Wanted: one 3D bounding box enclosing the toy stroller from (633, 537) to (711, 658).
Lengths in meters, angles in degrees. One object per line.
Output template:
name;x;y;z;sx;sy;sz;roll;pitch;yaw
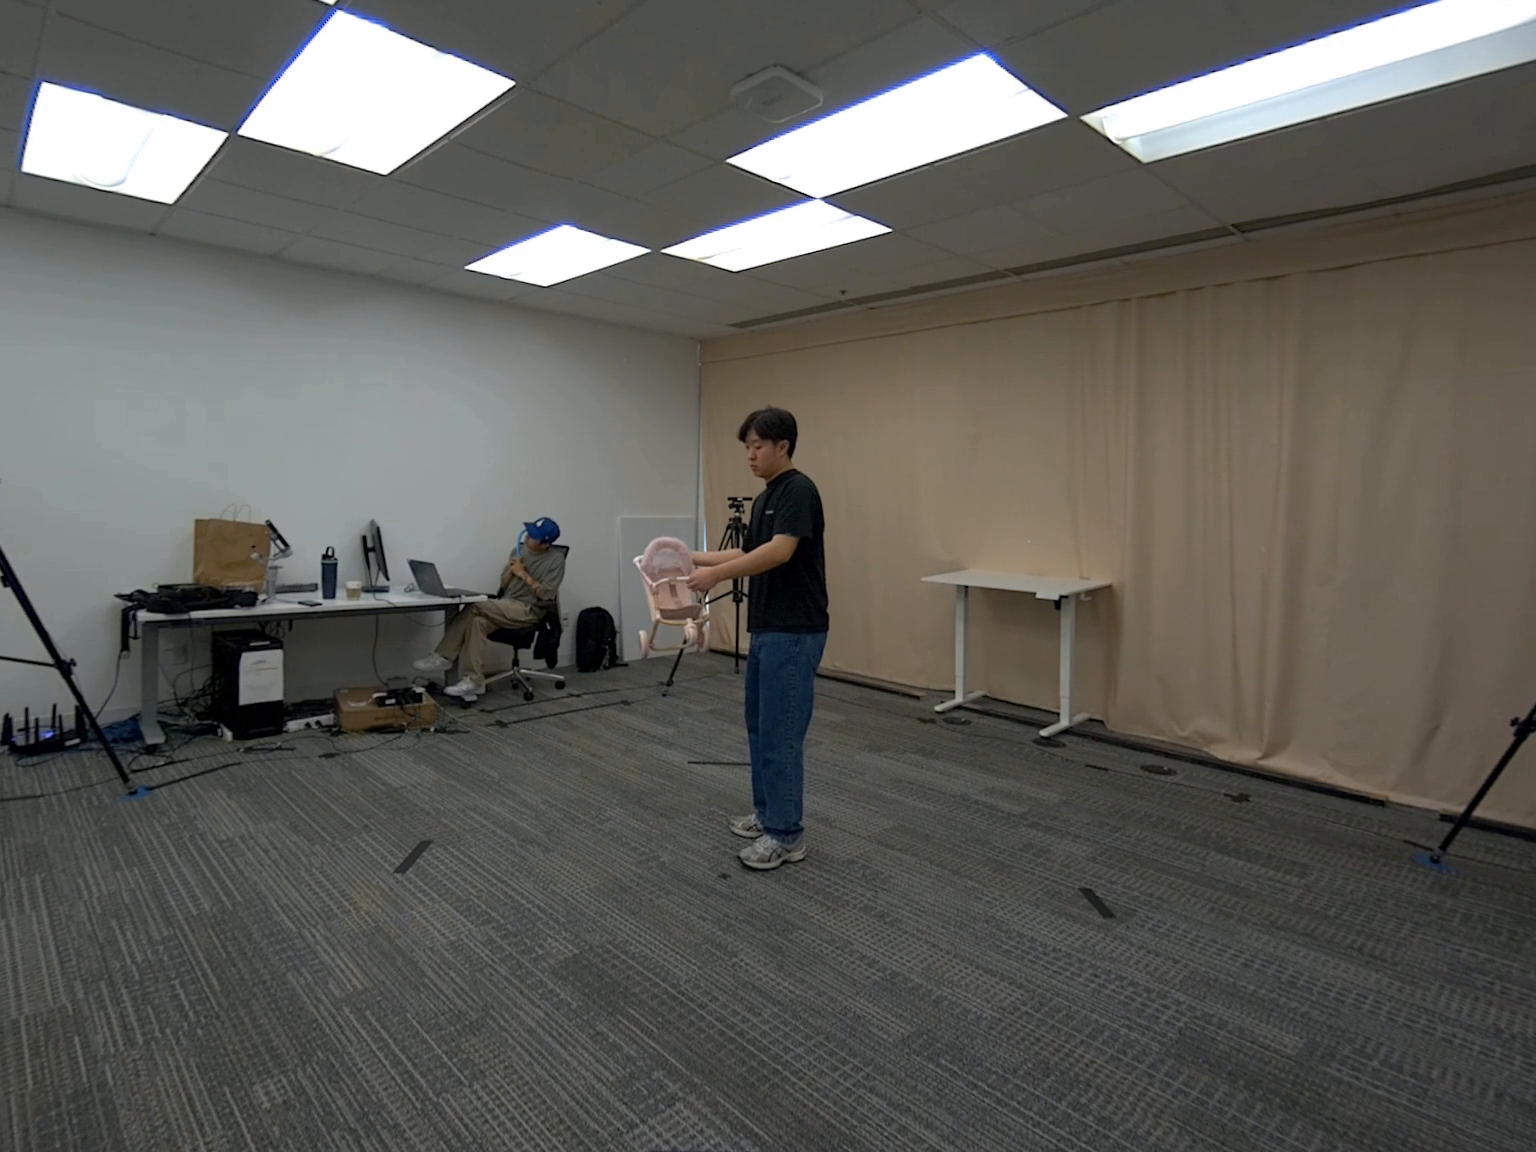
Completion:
toy stroller;-0.379;0.077;3.295;0.278;0.547;0.338;-3;-28;-17
